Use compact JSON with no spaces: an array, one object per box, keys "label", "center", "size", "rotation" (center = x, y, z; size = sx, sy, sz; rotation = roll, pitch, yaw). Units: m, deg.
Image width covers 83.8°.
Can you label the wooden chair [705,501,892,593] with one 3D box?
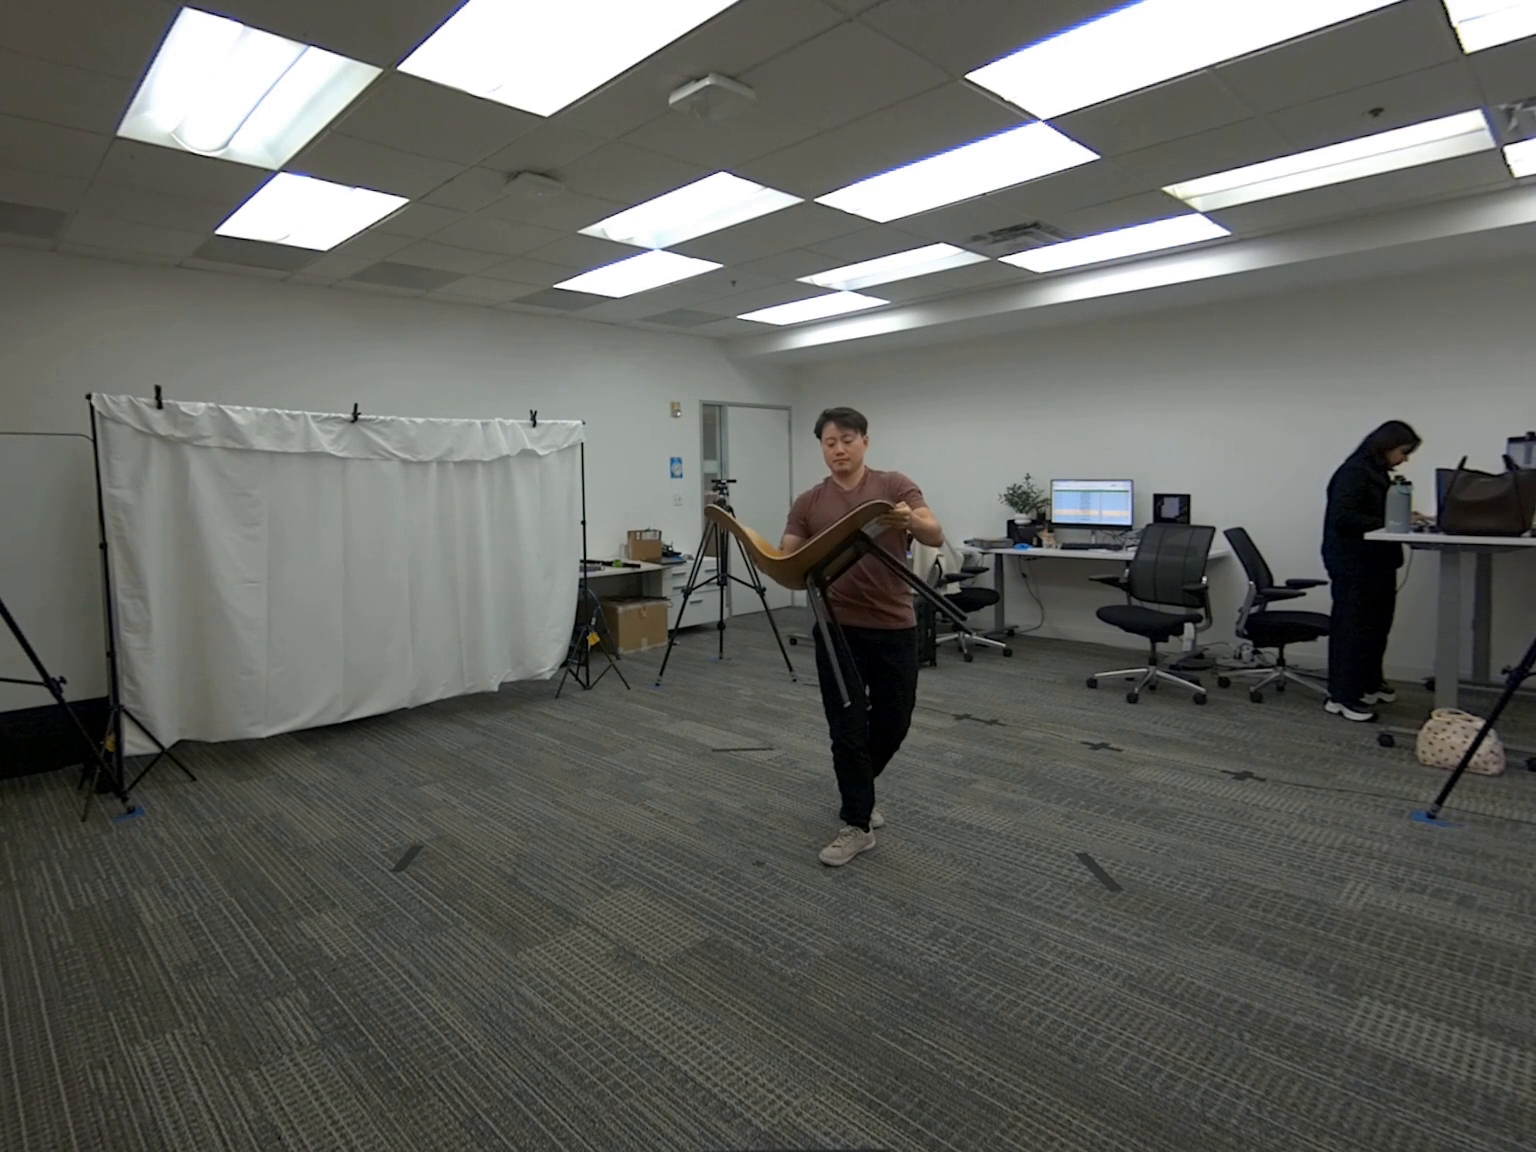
[{"label":"wooden chair","center":[0.248,-0.044,2.899],"size":[0.523,0.901,0.465],"rotation":[-41,-21,6]}]
